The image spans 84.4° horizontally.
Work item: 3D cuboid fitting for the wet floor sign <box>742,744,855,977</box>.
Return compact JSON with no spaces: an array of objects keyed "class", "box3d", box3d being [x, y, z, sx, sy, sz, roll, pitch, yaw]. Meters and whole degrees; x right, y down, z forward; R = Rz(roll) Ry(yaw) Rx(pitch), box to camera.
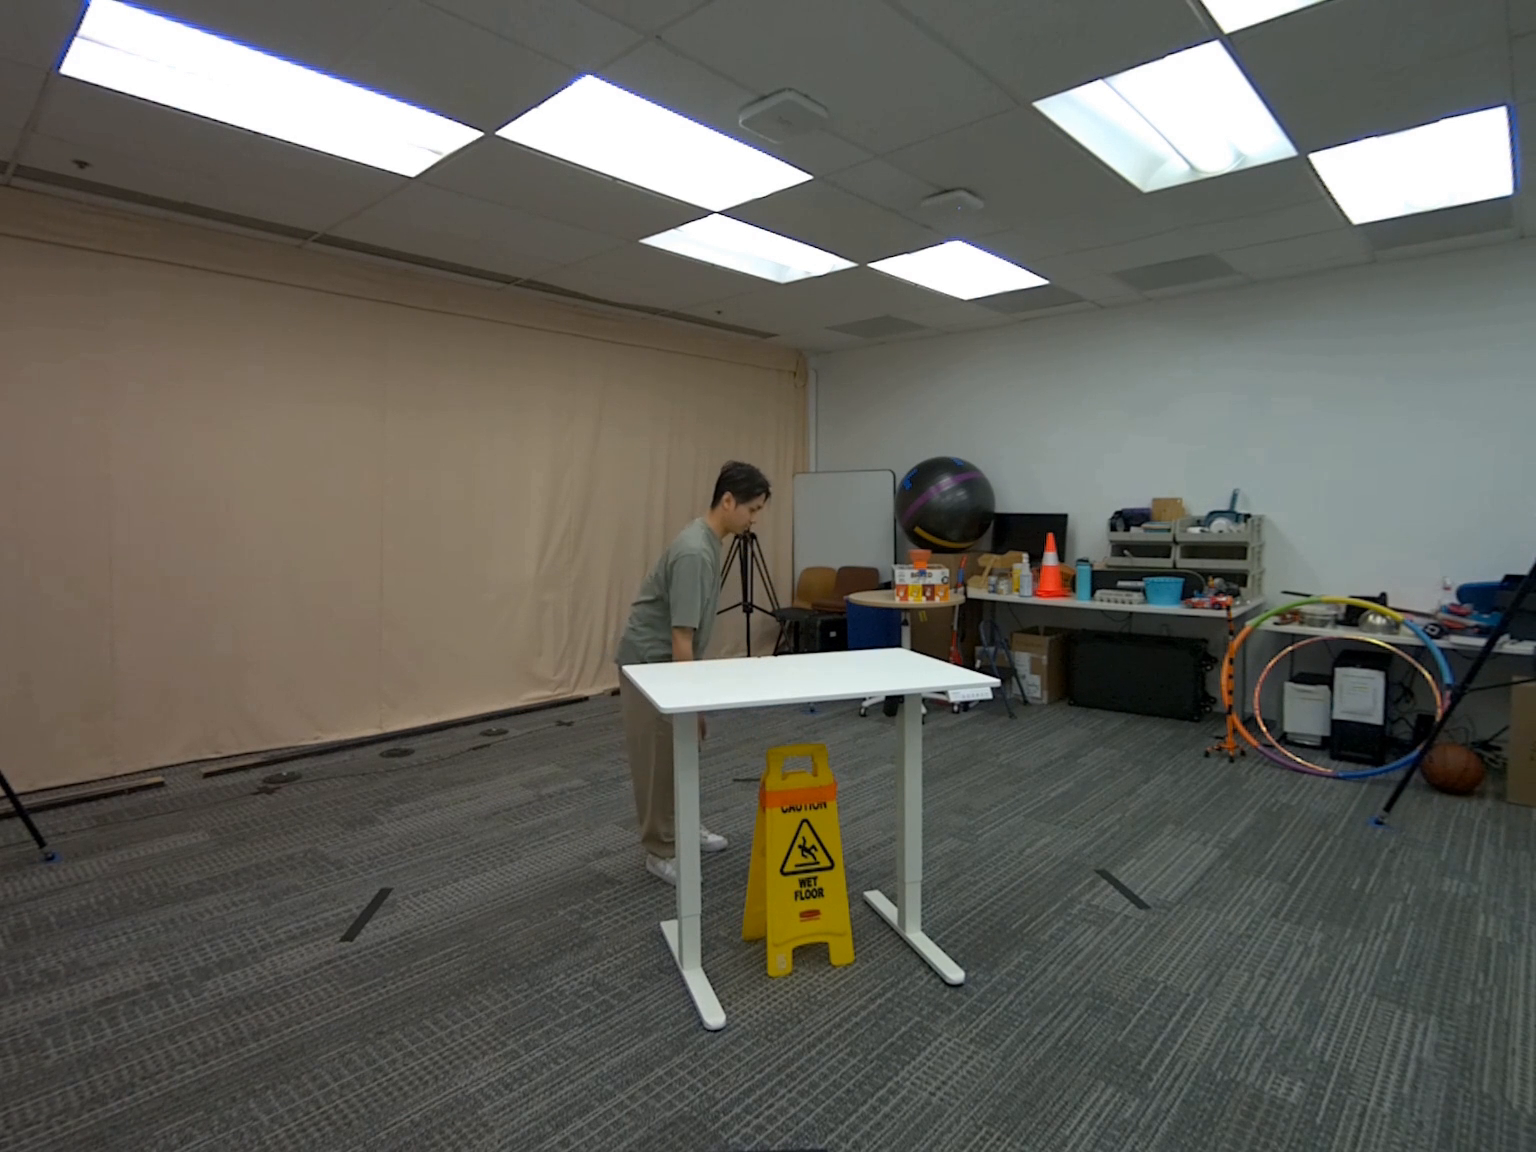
[{"class":"wet floor sign","box3d":[0.088,0.861,2.602,0.277,0.644,0.296,-3,4,-18]}]
